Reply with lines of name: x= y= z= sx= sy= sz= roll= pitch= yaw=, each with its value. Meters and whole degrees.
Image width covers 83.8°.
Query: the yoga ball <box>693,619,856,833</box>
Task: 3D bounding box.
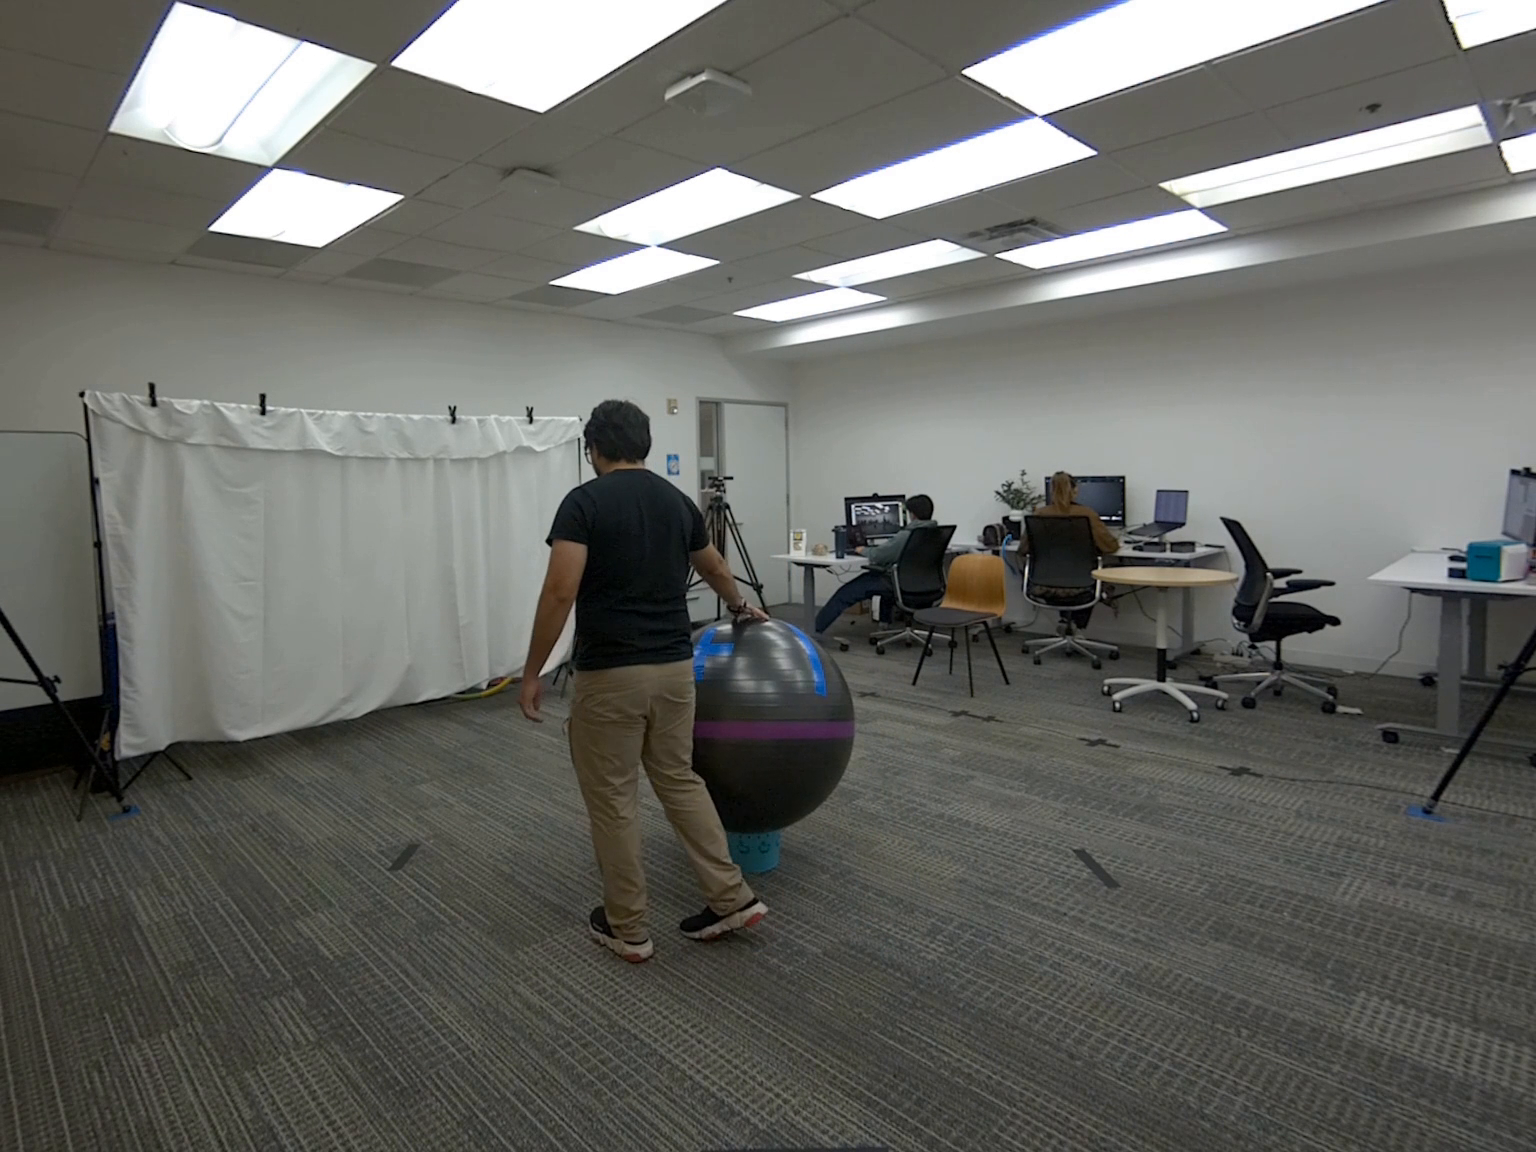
yoga ball: x=-0.063 y=0.530 z=3.088 sx=0.757 sy=0.755 sz=0.762 roll=-1 pitch=5 yaw=-2
